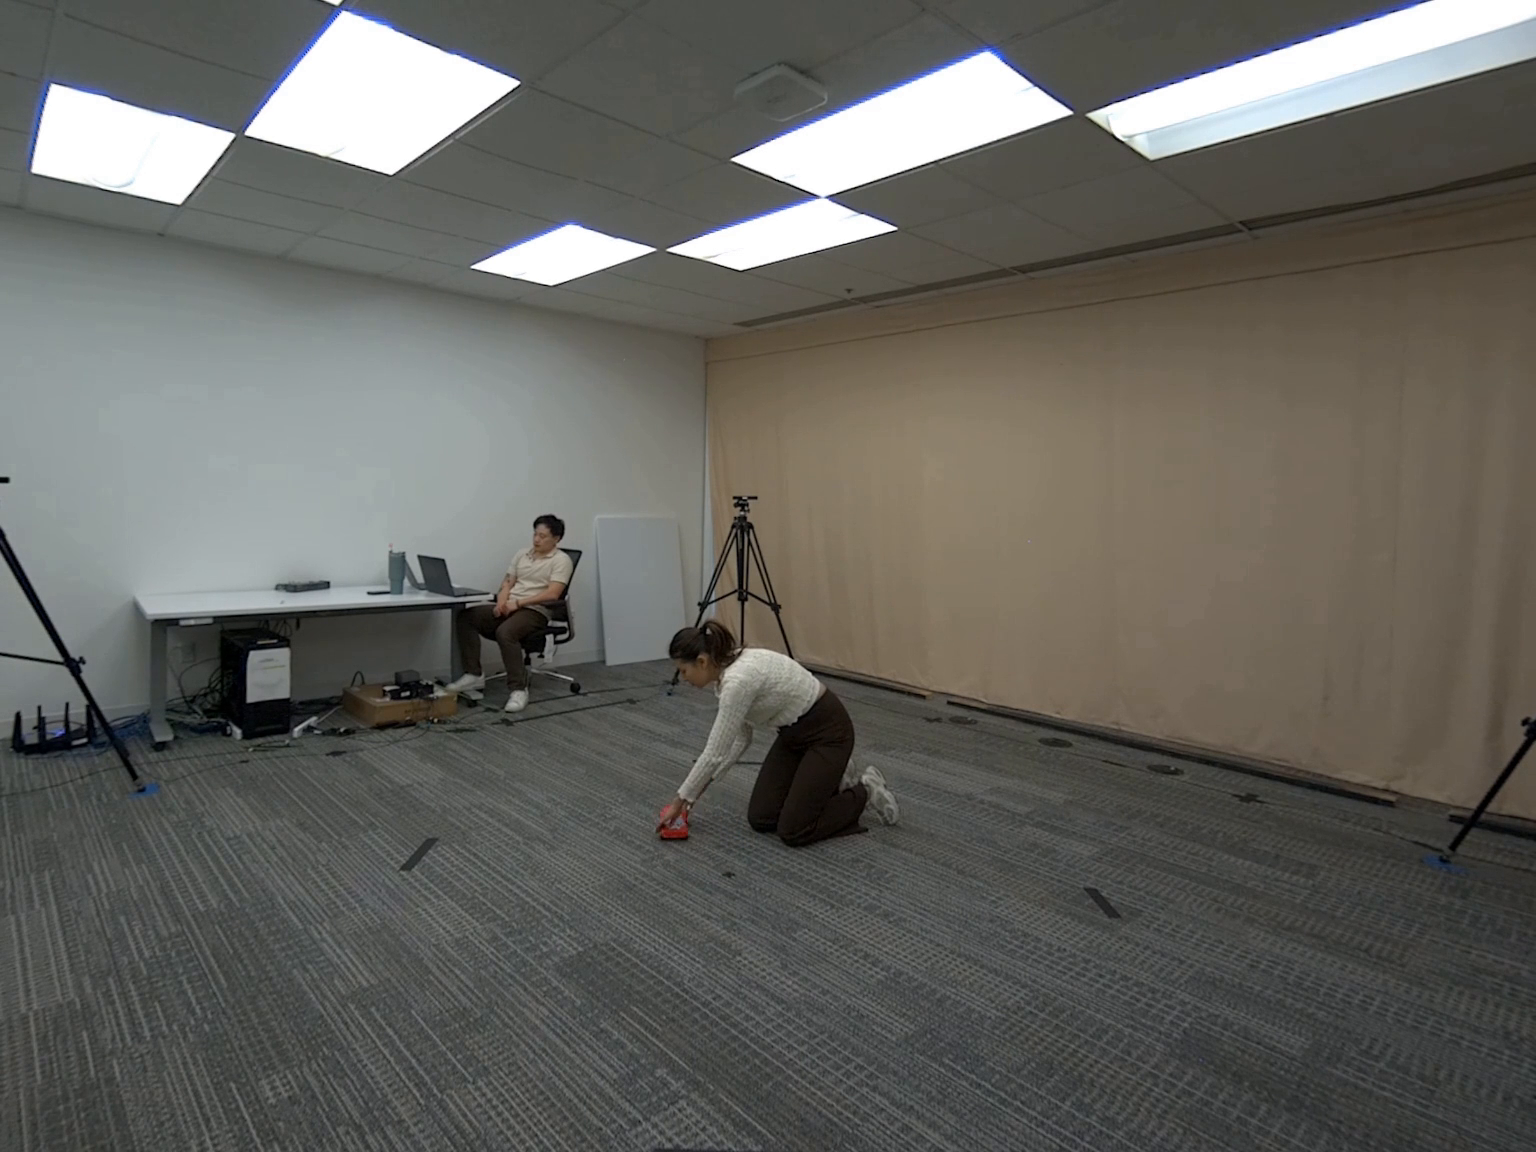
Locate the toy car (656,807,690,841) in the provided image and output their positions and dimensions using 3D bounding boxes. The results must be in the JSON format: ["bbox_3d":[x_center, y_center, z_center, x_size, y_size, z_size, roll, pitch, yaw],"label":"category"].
[{"bbox_3d":[-0.401,1.022,3.509,0.130,0.082,0.258,-1,19,-4],"label":"toy car"}]
